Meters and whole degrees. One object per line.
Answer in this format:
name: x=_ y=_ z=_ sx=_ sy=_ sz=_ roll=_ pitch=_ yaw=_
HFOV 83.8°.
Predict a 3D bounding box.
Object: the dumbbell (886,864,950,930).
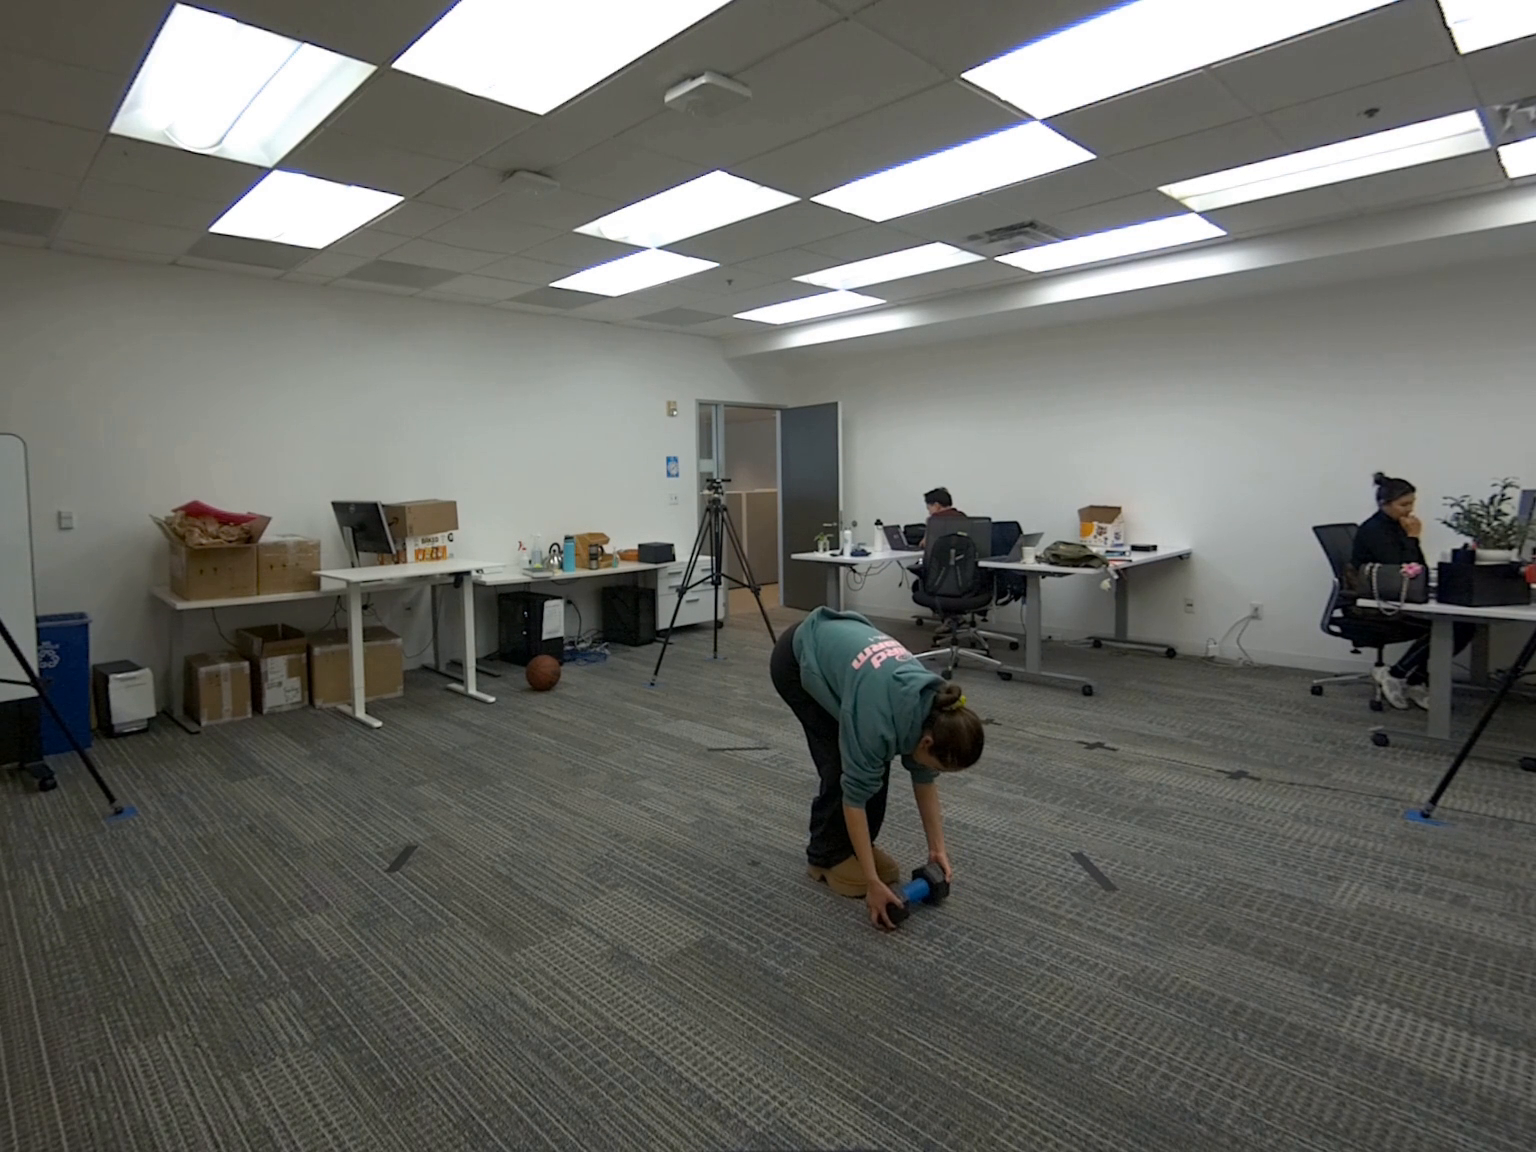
dumbbell: x=0.463 y=1.023 z=2.734 sx=0.286 sy=0.122 sz=0.112 roll=-8 pitch=8 yaw=-42
